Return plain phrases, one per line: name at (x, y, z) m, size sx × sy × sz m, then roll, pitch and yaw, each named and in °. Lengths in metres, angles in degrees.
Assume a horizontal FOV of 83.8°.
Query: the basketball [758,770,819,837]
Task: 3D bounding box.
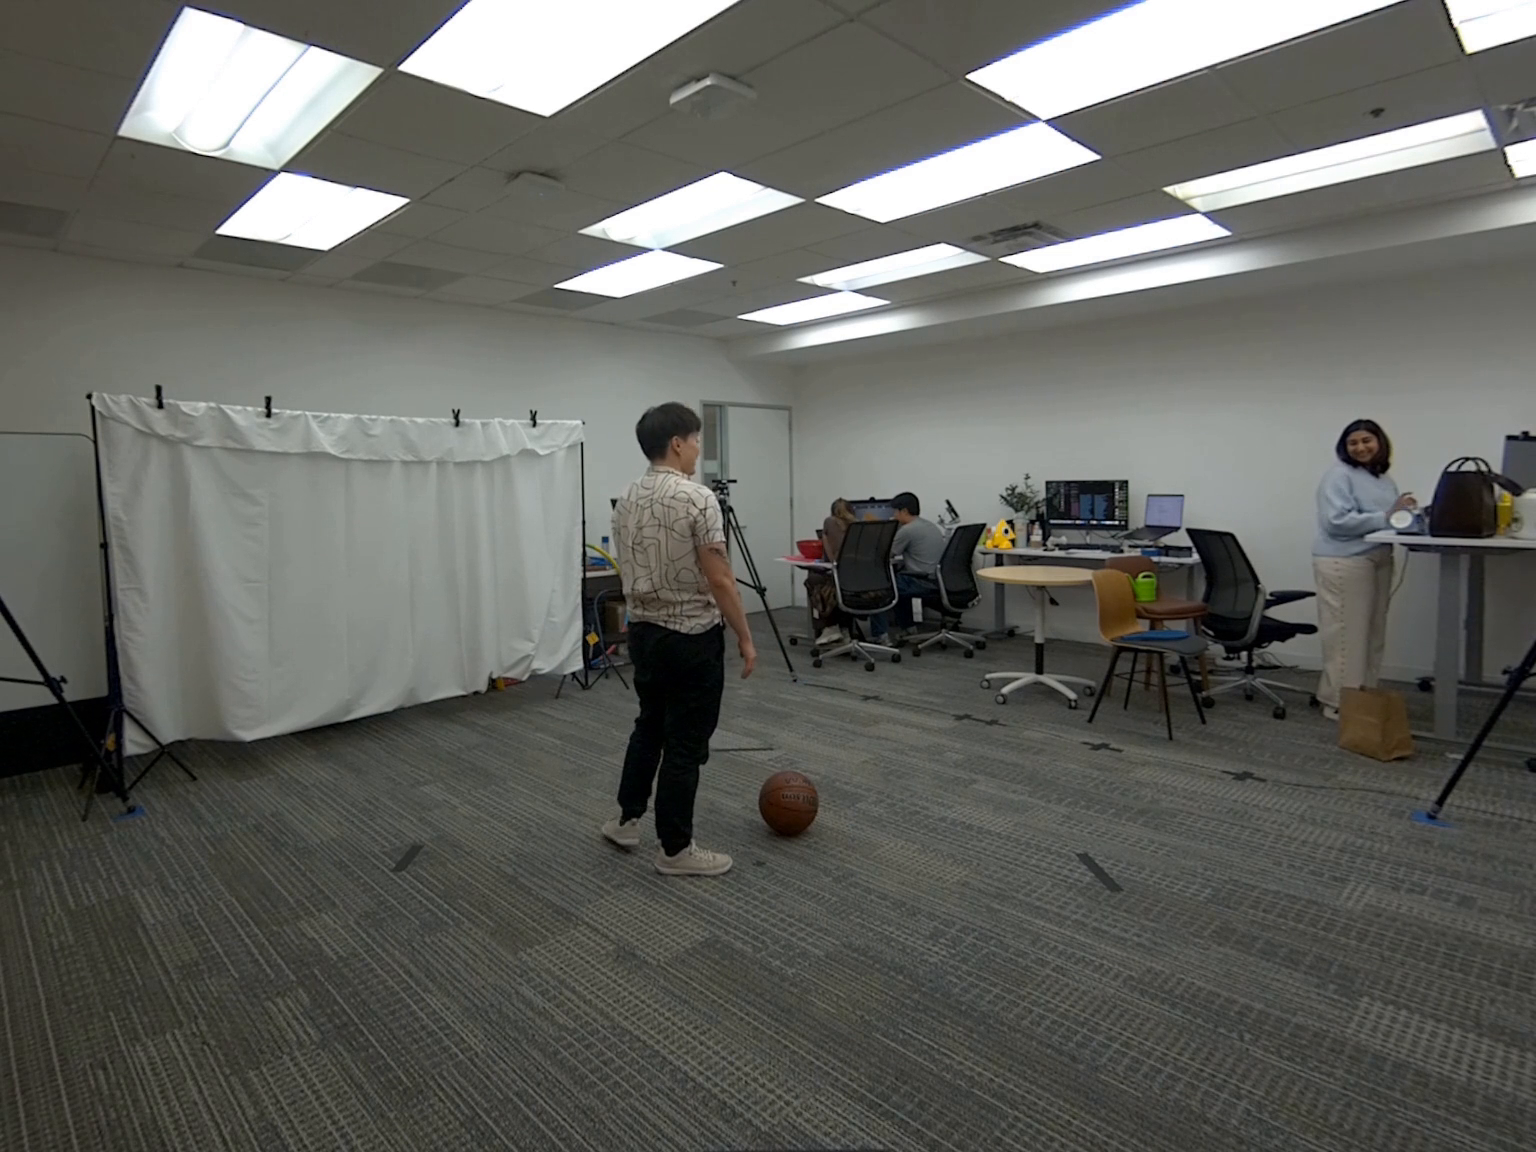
basketball at (0.084, 0.892, 3.387) m, size 0.236 × 0.235 × 0.237 m, roll -1°, pitch 5°, yaw -2°
